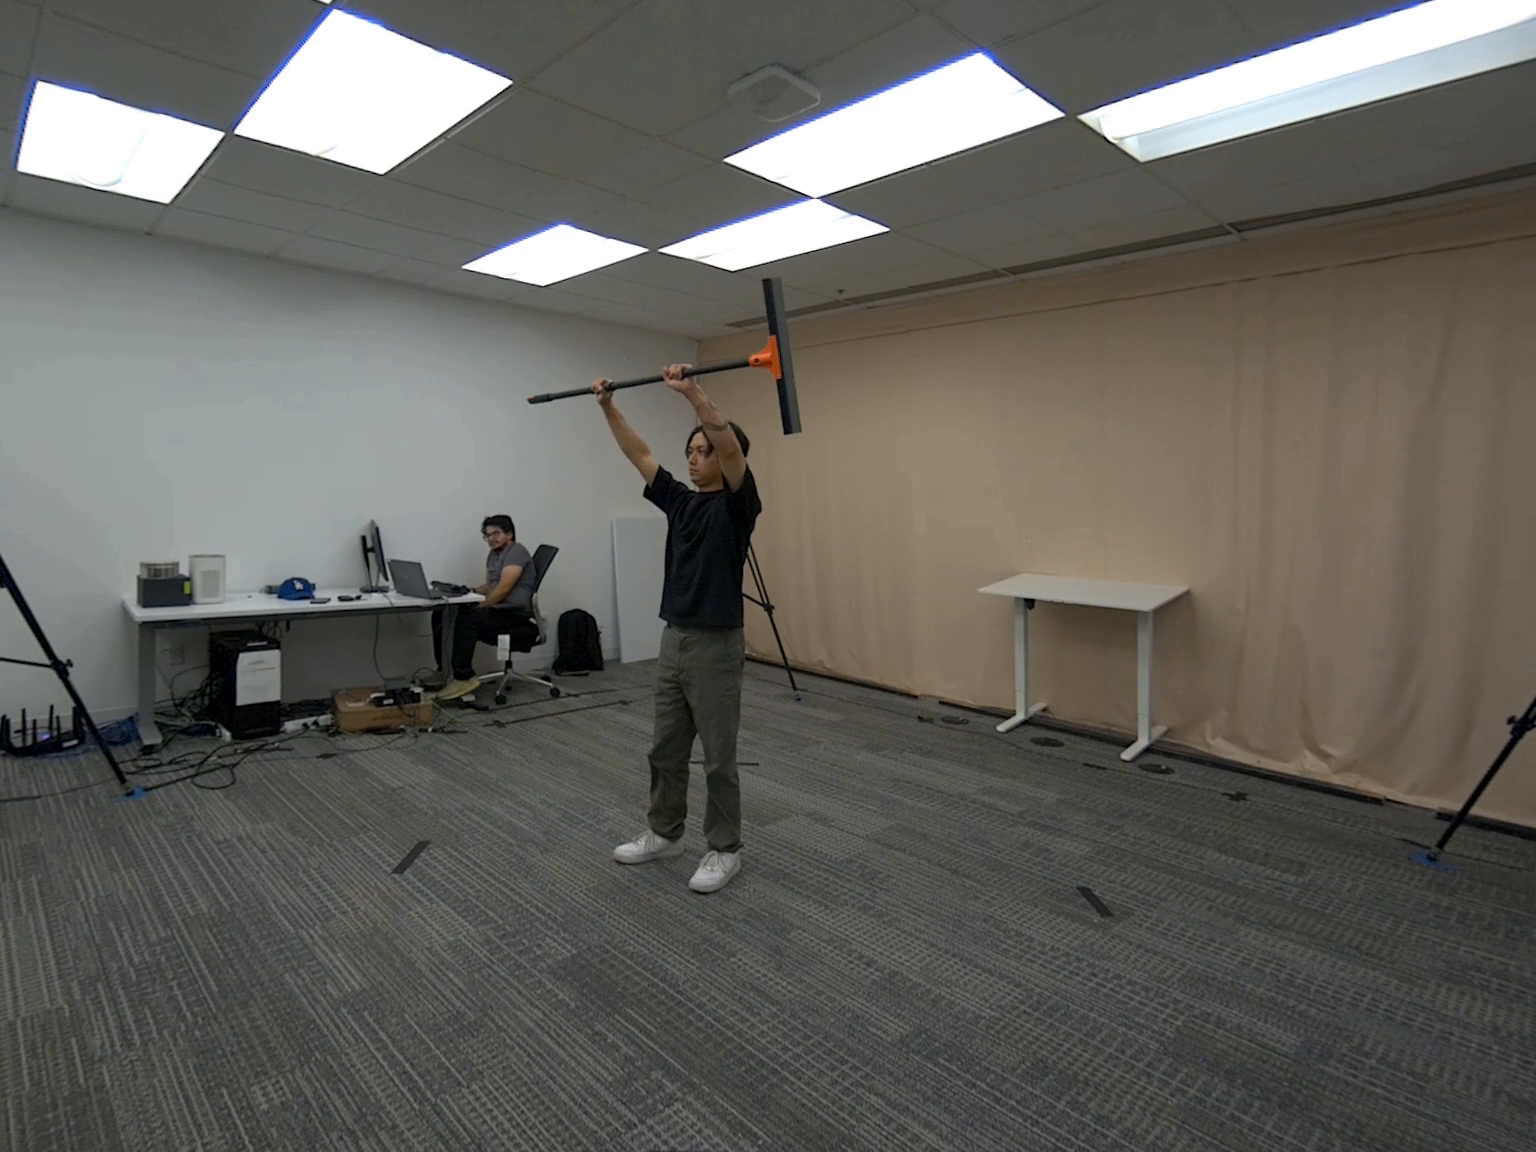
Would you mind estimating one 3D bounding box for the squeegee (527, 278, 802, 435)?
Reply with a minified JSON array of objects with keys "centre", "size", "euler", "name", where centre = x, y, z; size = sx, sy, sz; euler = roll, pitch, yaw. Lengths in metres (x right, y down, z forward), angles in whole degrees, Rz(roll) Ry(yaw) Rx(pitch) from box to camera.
[{"centre":[-0.482,-0.659,2.928],"size":[0.052,0.433,1.577],"euler":[-19,16,-39],"name":"squeegee"}]
